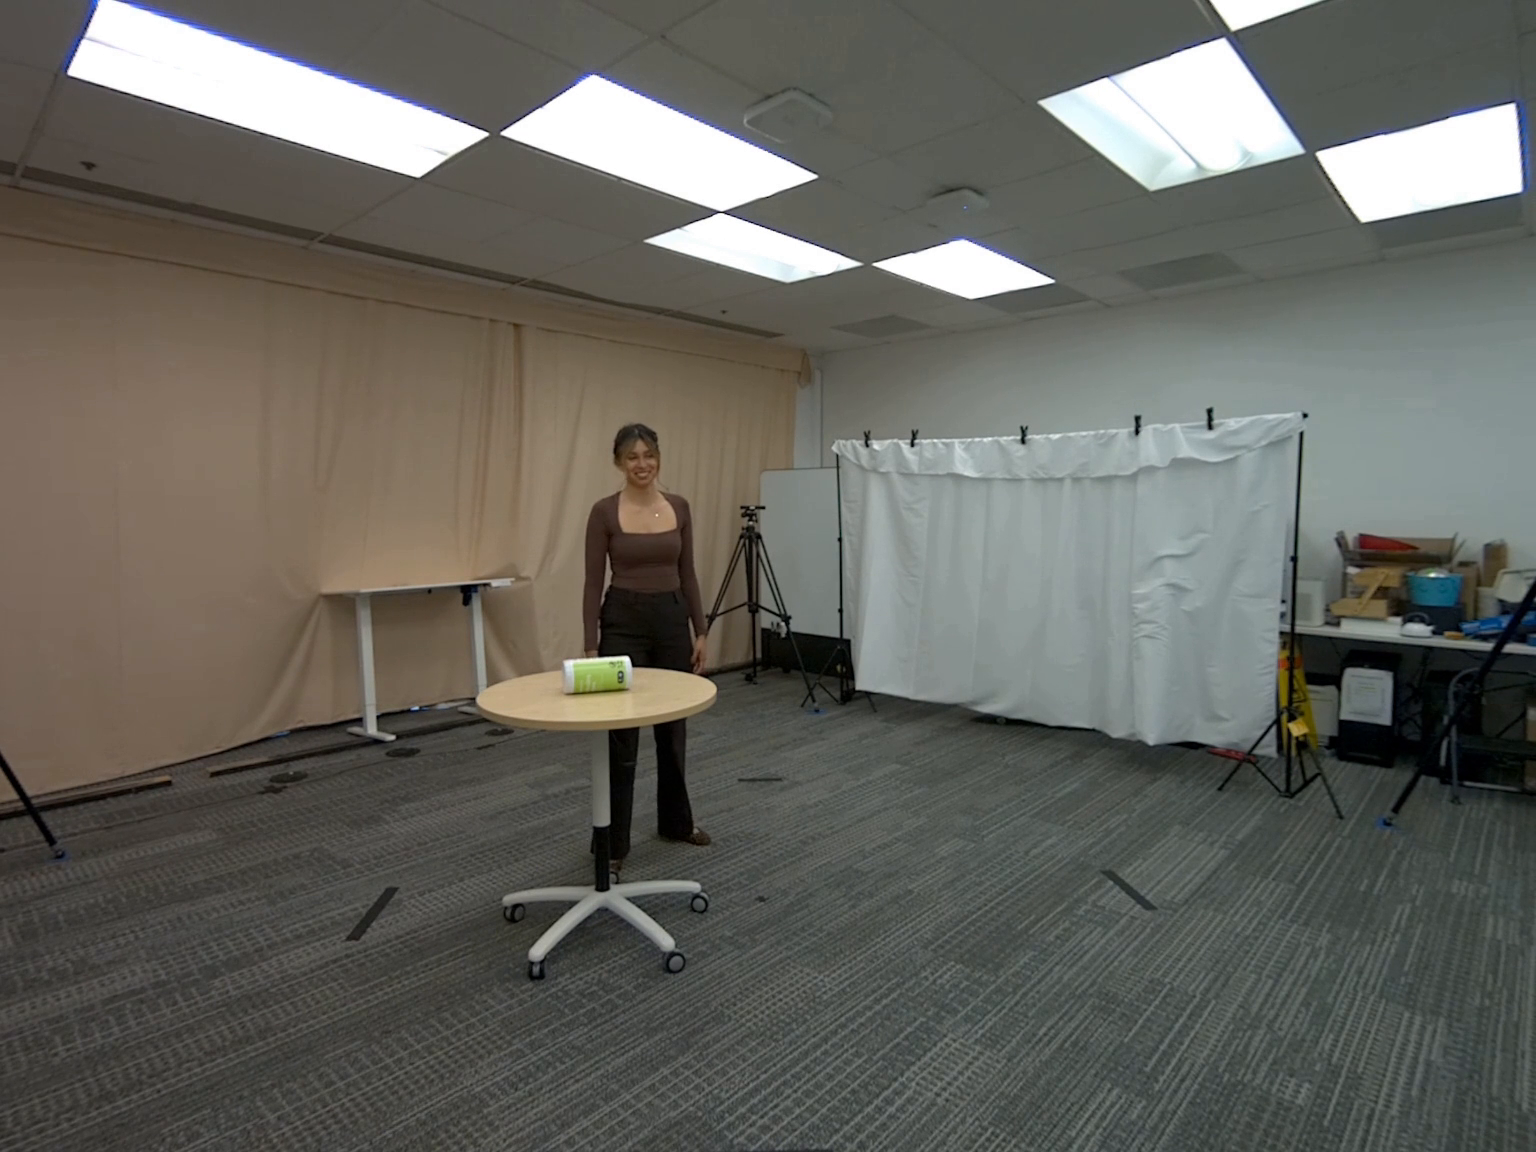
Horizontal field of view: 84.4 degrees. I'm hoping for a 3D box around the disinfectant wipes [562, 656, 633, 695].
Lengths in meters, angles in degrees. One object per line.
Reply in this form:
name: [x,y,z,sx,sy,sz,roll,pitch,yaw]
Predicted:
disinfectant wipes: [-0.554,0.319,2.728,0.214,0.117,0.120,-3,4,-14]
